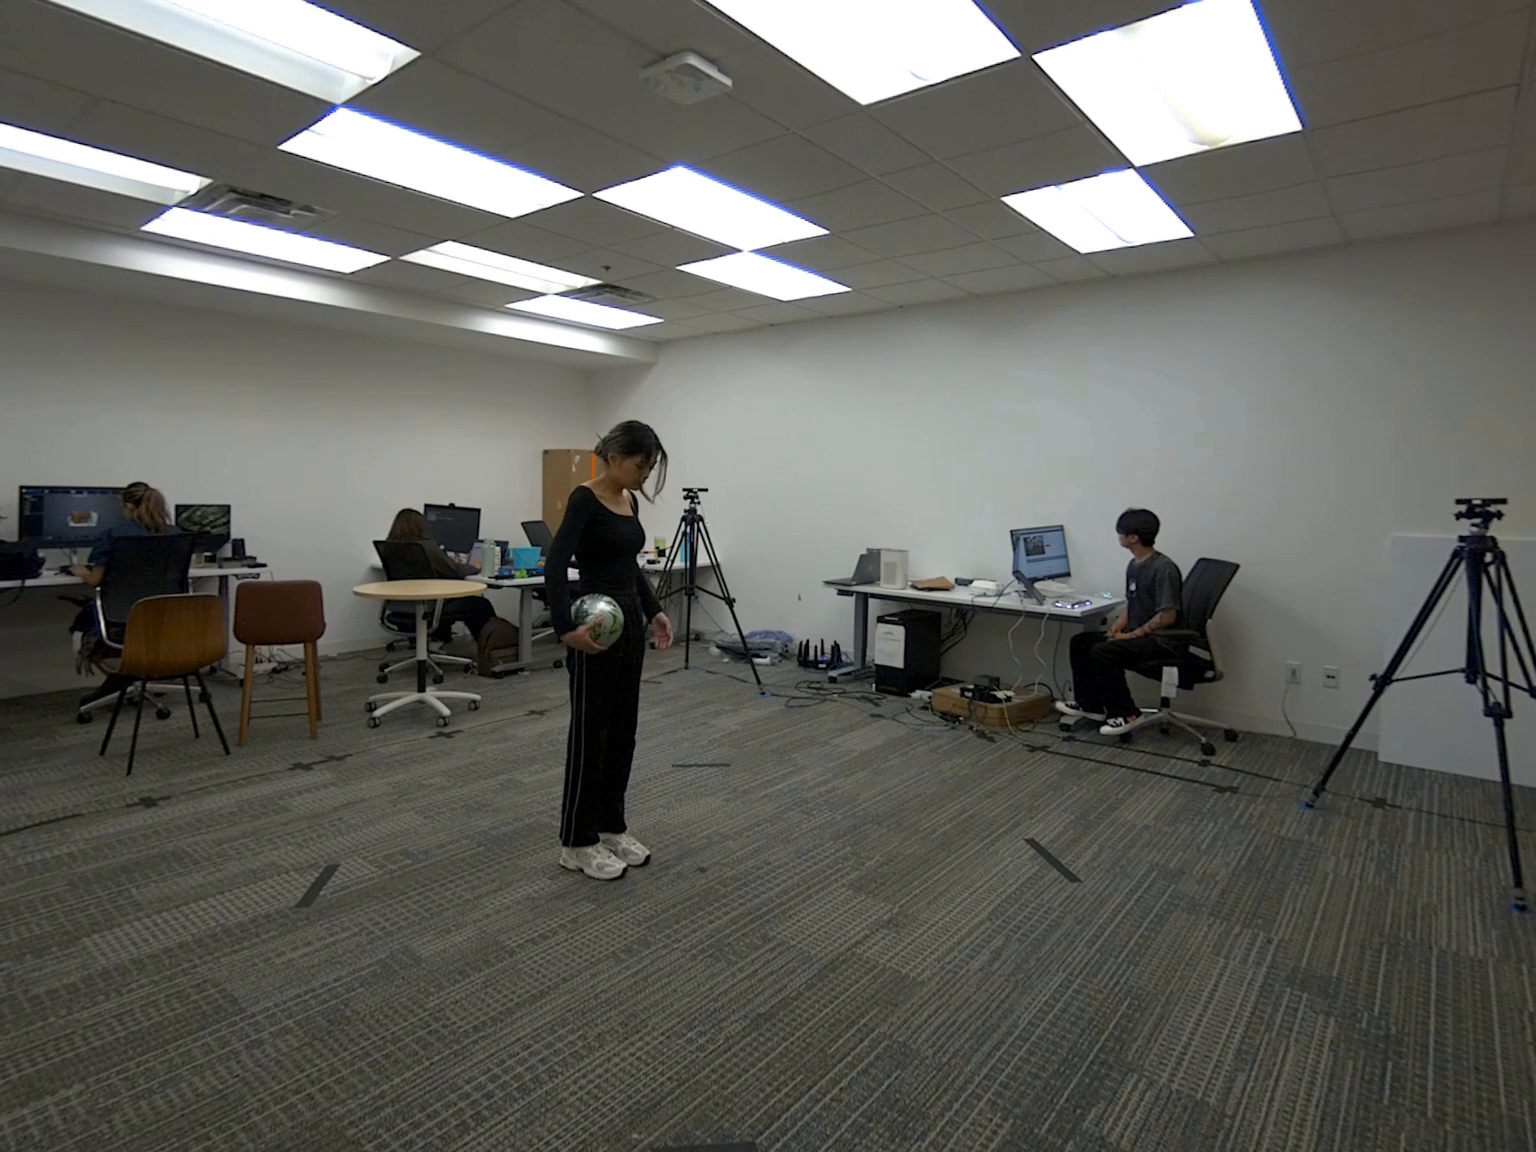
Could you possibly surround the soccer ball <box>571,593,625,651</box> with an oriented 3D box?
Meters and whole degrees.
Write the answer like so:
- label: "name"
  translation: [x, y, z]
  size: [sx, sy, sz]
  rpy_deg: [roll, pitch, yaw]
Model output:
- label: "soccer ball"
  translation: [-0.591, 0.148, 2.845]
  size: [0.187, 0.187, 0.188]
  rpy_deg: [1, 4, -2]
